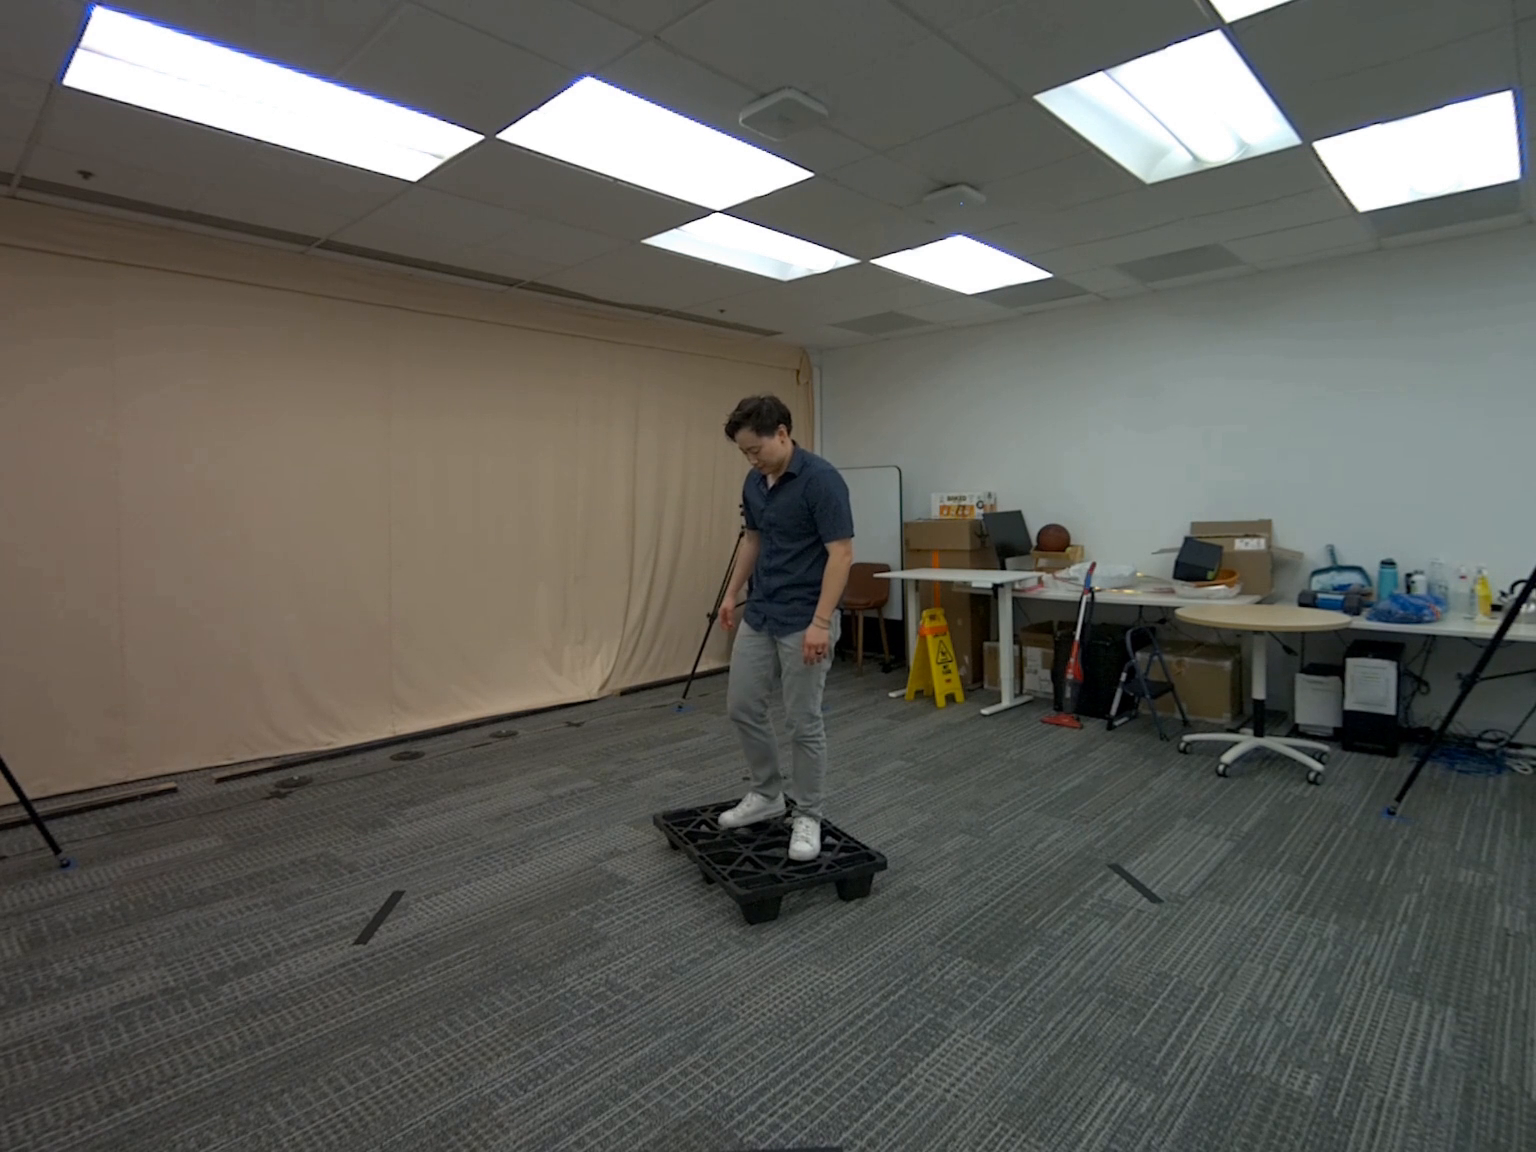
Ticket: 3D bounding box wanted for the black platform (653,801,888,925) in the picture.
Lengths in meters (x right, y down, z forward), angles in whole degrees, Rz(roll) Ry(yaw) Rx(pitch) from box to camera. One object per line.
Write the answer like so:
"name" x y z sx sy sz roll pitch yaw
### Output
"black platform" -0.018 1.053 3.213 0.590 0.143 0.827 -3 6 -27
